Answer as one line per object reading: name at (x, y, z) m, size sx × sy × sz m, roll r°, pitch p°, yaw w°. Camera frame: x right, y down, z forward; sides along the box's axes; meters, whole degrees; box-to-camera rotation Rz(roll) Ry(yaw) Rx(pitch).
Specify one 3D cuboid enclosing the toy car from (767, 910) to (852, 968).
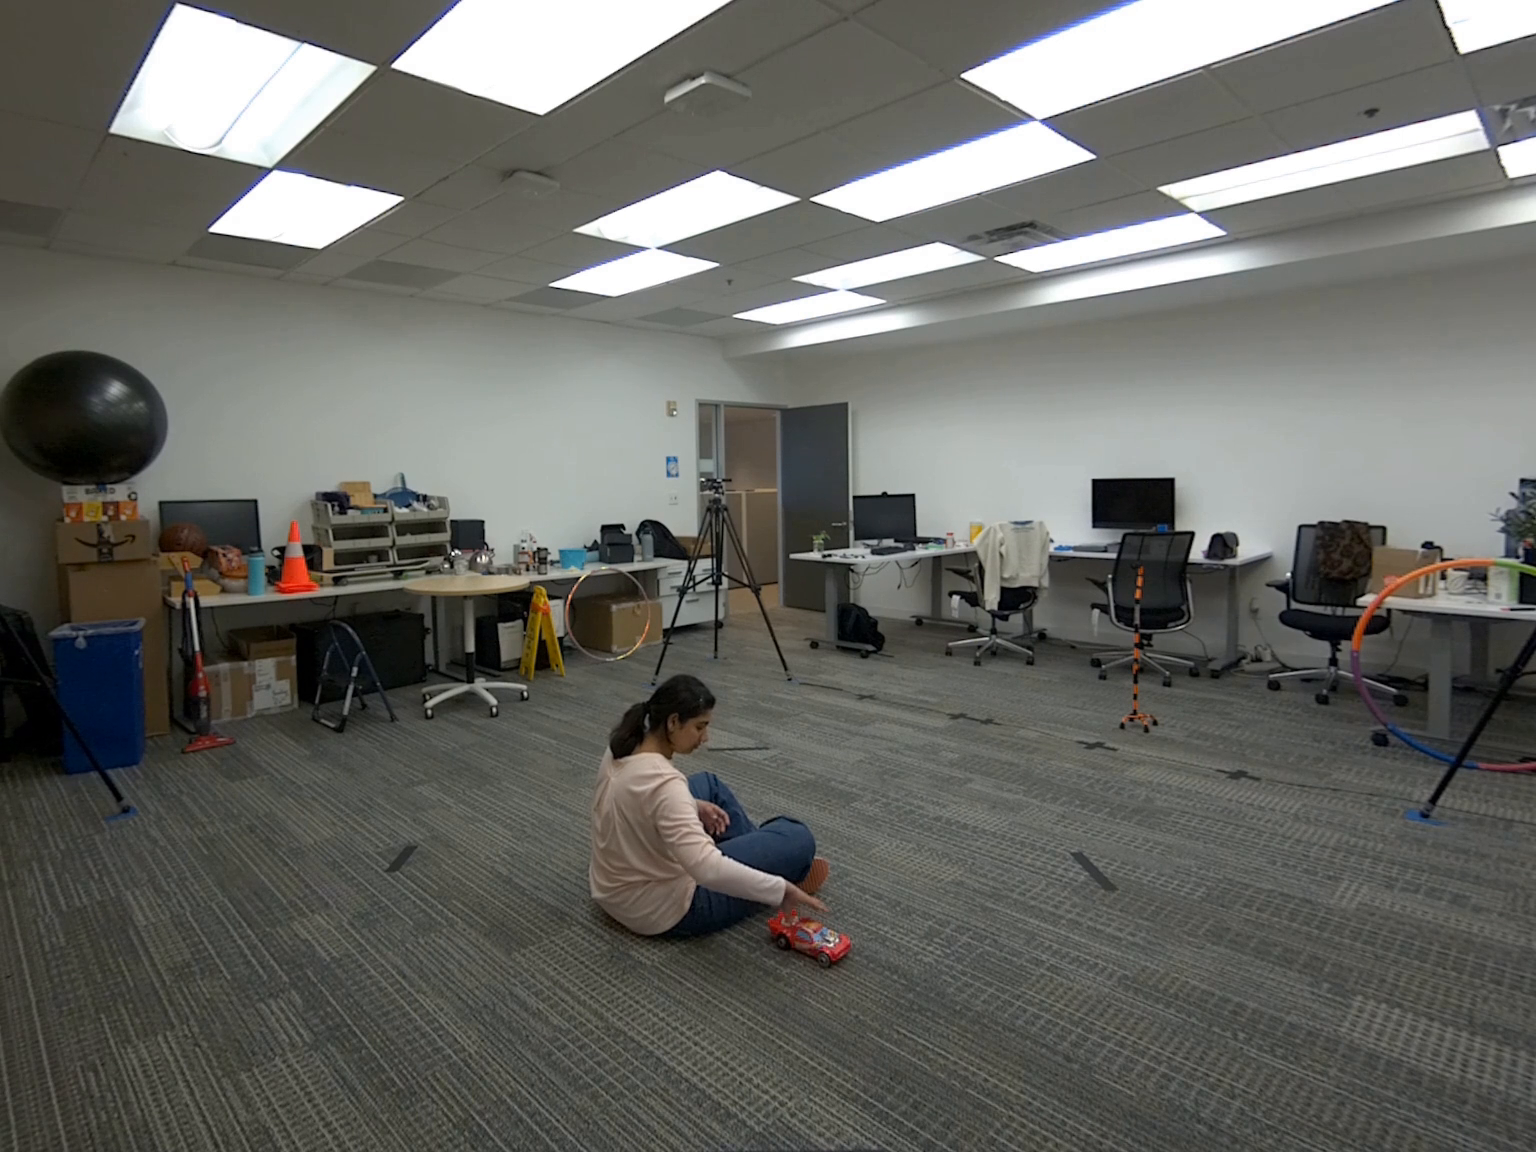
toy car at (0.114, 1.070, 2.540) m, size 0.263 × 0.082 × 0.127 m, roll 16°, pitch 16°, yaw 38°
